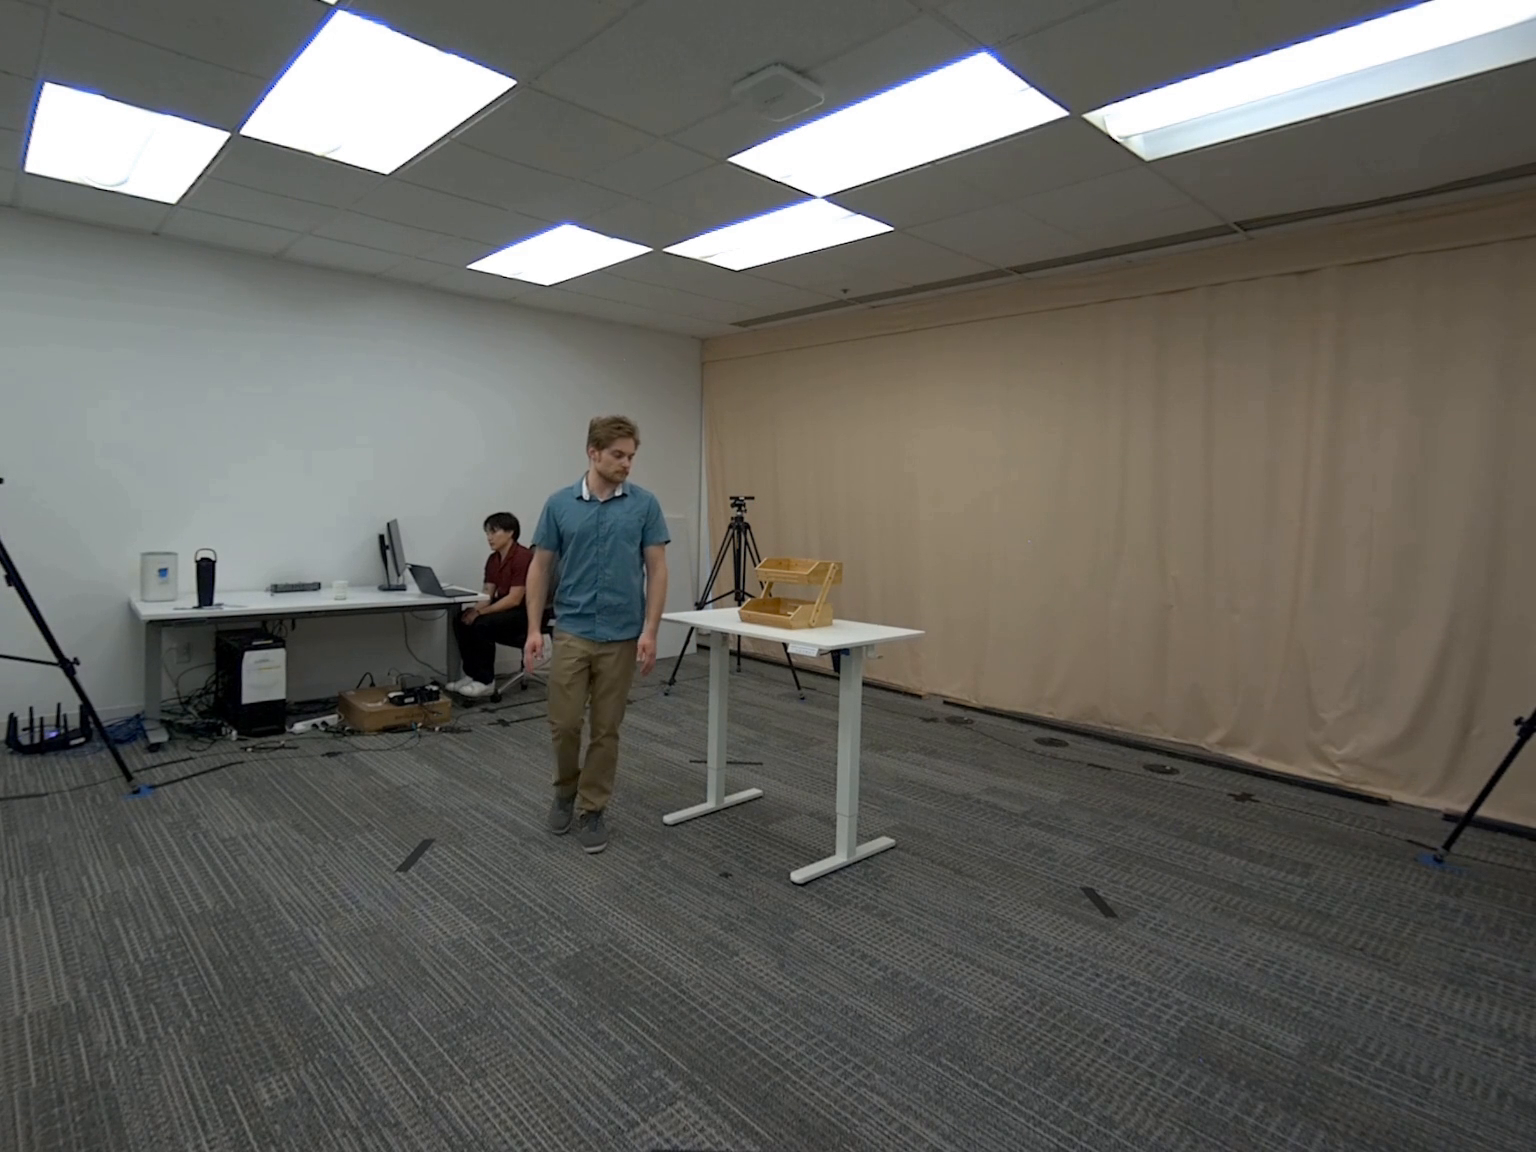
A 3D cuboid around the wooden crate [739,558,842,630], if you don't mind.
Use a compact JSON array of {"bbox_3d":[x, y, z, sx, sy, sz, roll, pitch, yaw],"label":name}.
[{"bbox_3d":[0.081,0.062,3.468,0.295,0.273,0.333,-1,4,-45],"label":"wooden crate"}]
